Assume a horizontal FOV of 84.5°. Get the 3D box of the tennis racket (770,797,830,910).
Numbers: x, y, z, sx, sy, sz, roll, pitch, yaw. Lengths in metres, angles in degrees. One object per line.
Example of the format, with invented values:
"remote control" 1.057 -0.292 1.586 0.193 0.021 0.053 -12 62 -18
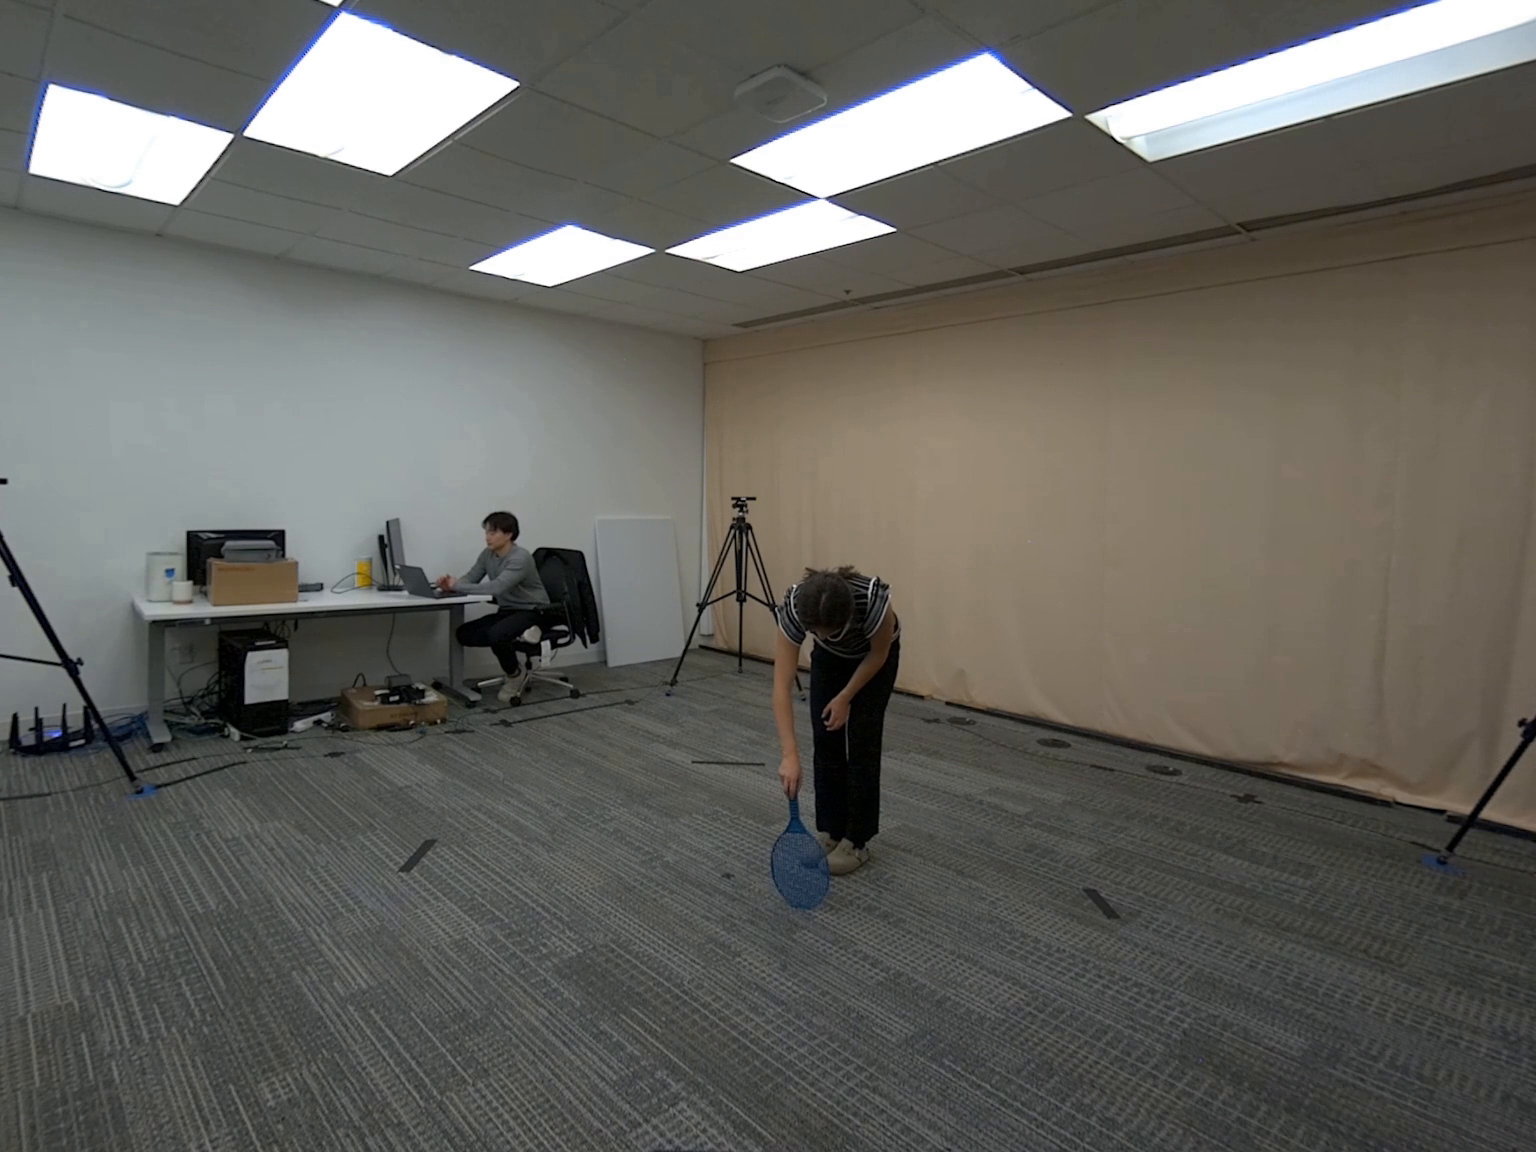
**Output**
"tennis racket" 0.087 0.920 2.873 0.217 0.434 0.031 -8 -3 26
